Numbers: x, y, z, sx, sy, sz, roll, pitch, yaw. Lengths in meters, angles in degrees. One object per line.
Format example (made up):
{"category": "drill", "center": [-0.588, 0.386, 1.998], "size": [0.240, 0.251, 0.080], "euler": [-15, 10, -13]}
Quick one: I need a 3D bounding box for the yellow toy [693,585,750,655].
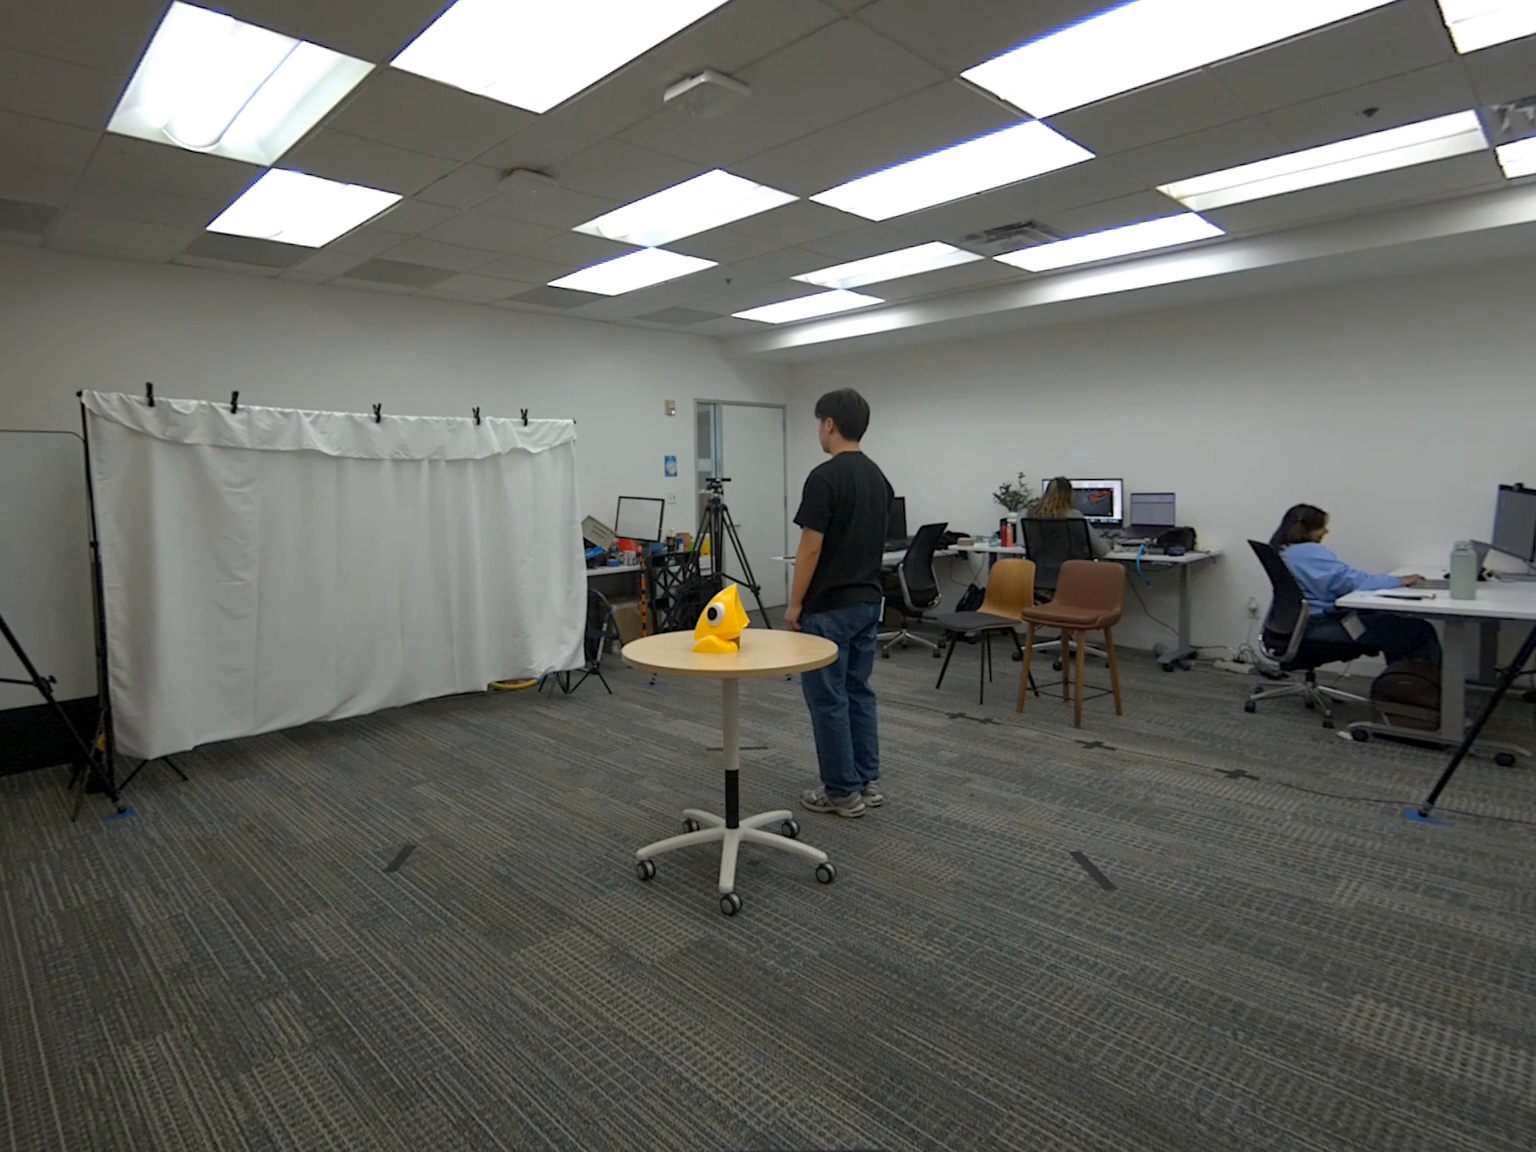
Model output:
{"category": "yellow toy", "center": [-0.169, 0.141, 3.028], "size": [0.195, 0.230, 0.203], "euler": [0, 4, 10]}
